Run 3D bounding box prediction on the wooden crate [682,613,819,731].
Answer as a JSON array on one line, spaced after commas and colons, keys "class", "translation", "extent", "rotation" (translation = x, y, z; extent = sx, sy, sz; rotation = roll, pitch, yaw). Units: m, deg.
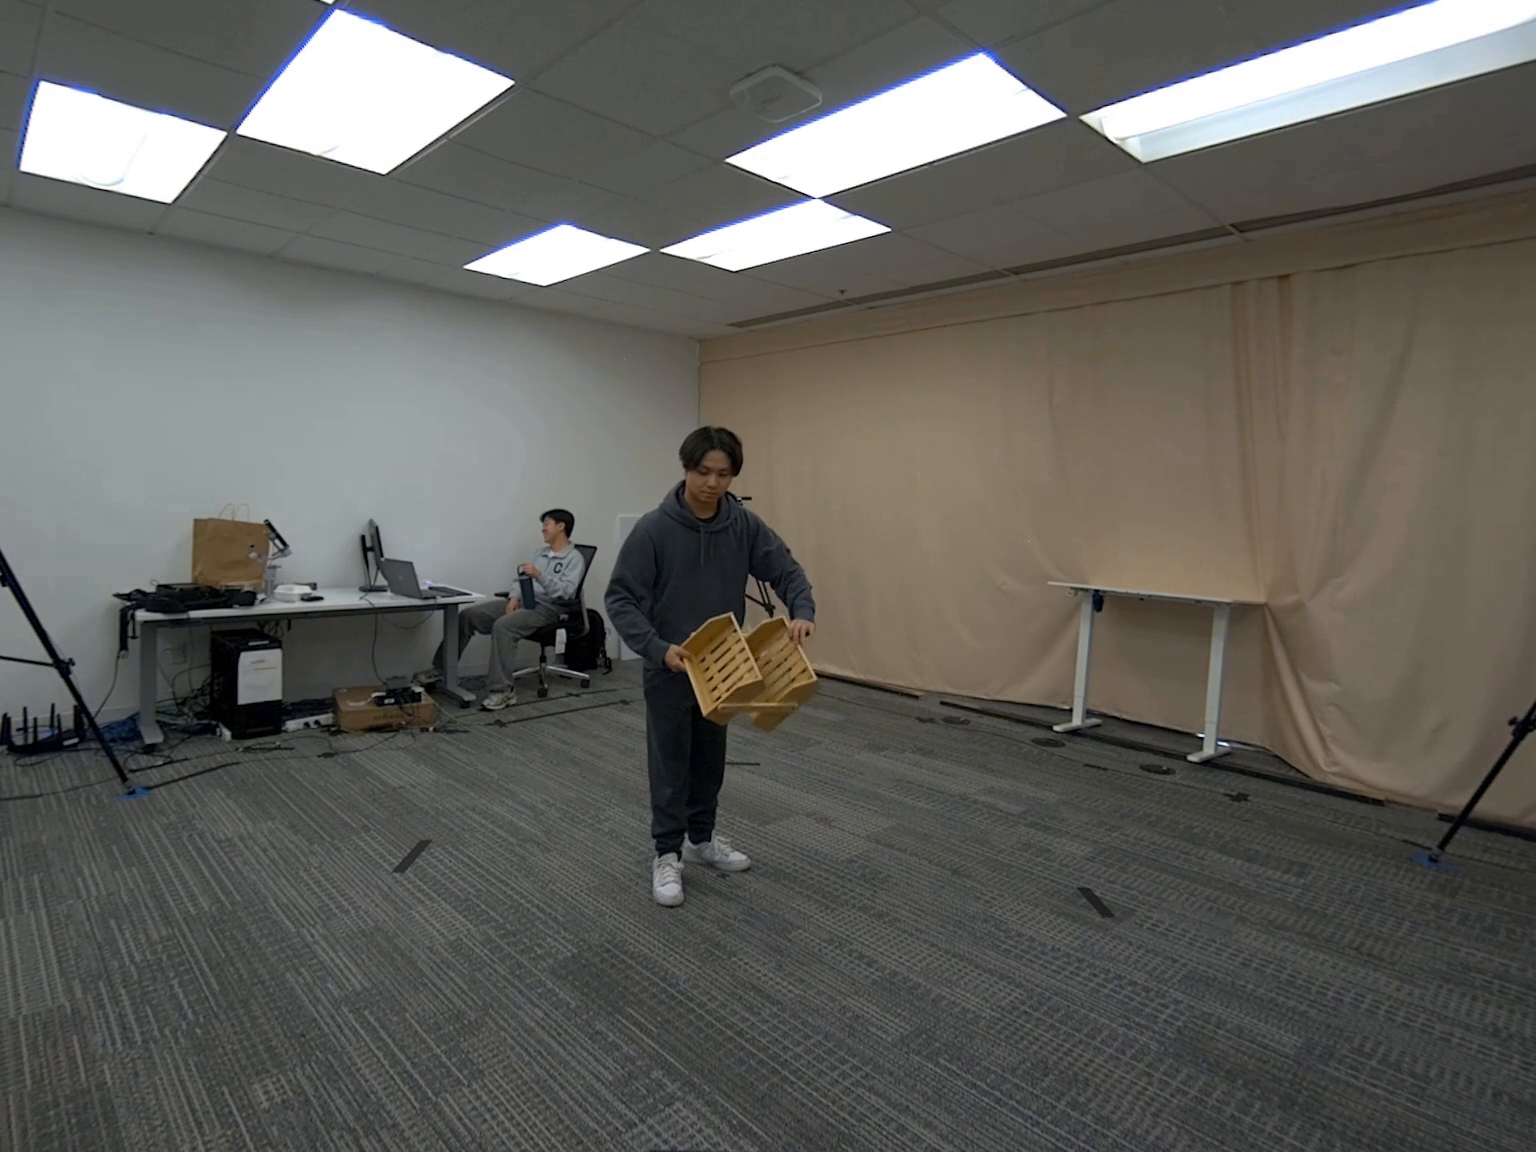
[{"class": "wooden crate", "translation": [-0.067, 0.294, 2.669], "extent": [0.265, 0.302, 0.334], "rotation": [34, 21, -38]}]
